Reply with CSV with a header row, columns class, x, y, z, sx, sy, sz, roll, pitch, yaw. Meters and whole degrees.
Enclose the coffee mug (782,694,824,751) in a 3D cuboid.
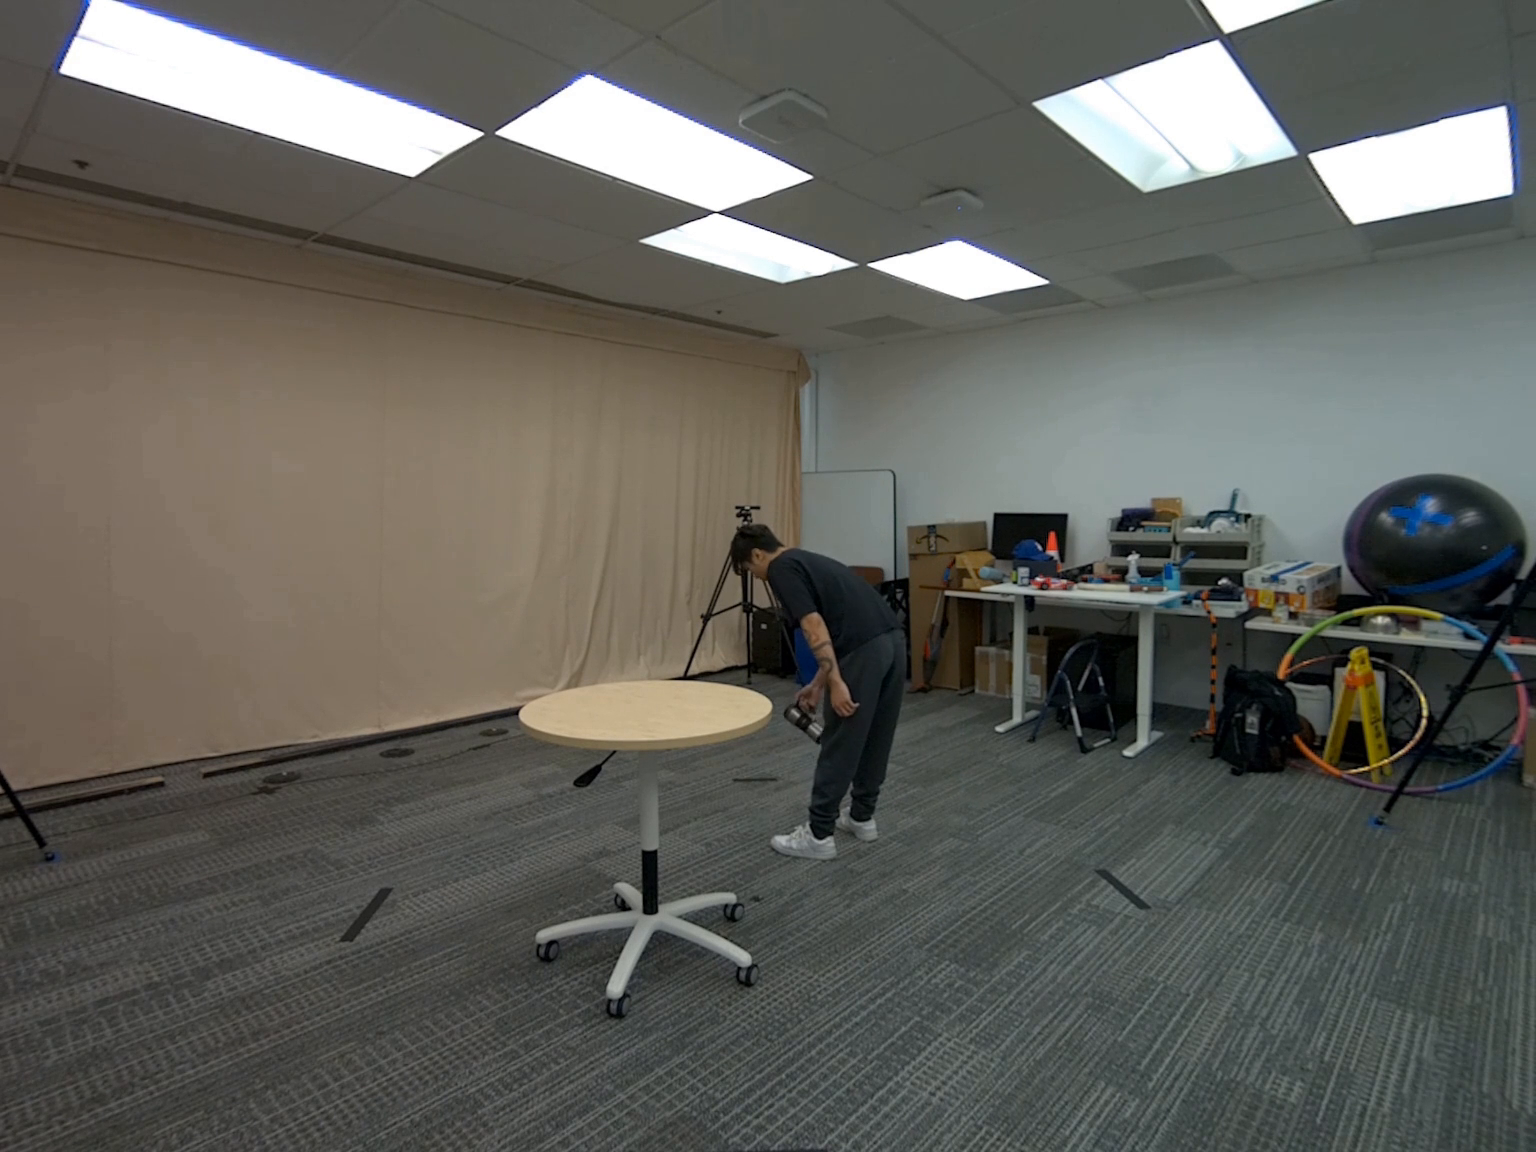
class,x,y,z,sx,sy,sz,roll,pitch,yaw
coffee mug,0.171,0.640,3.719,0.087,0.118,0.210,-38,51,-18
